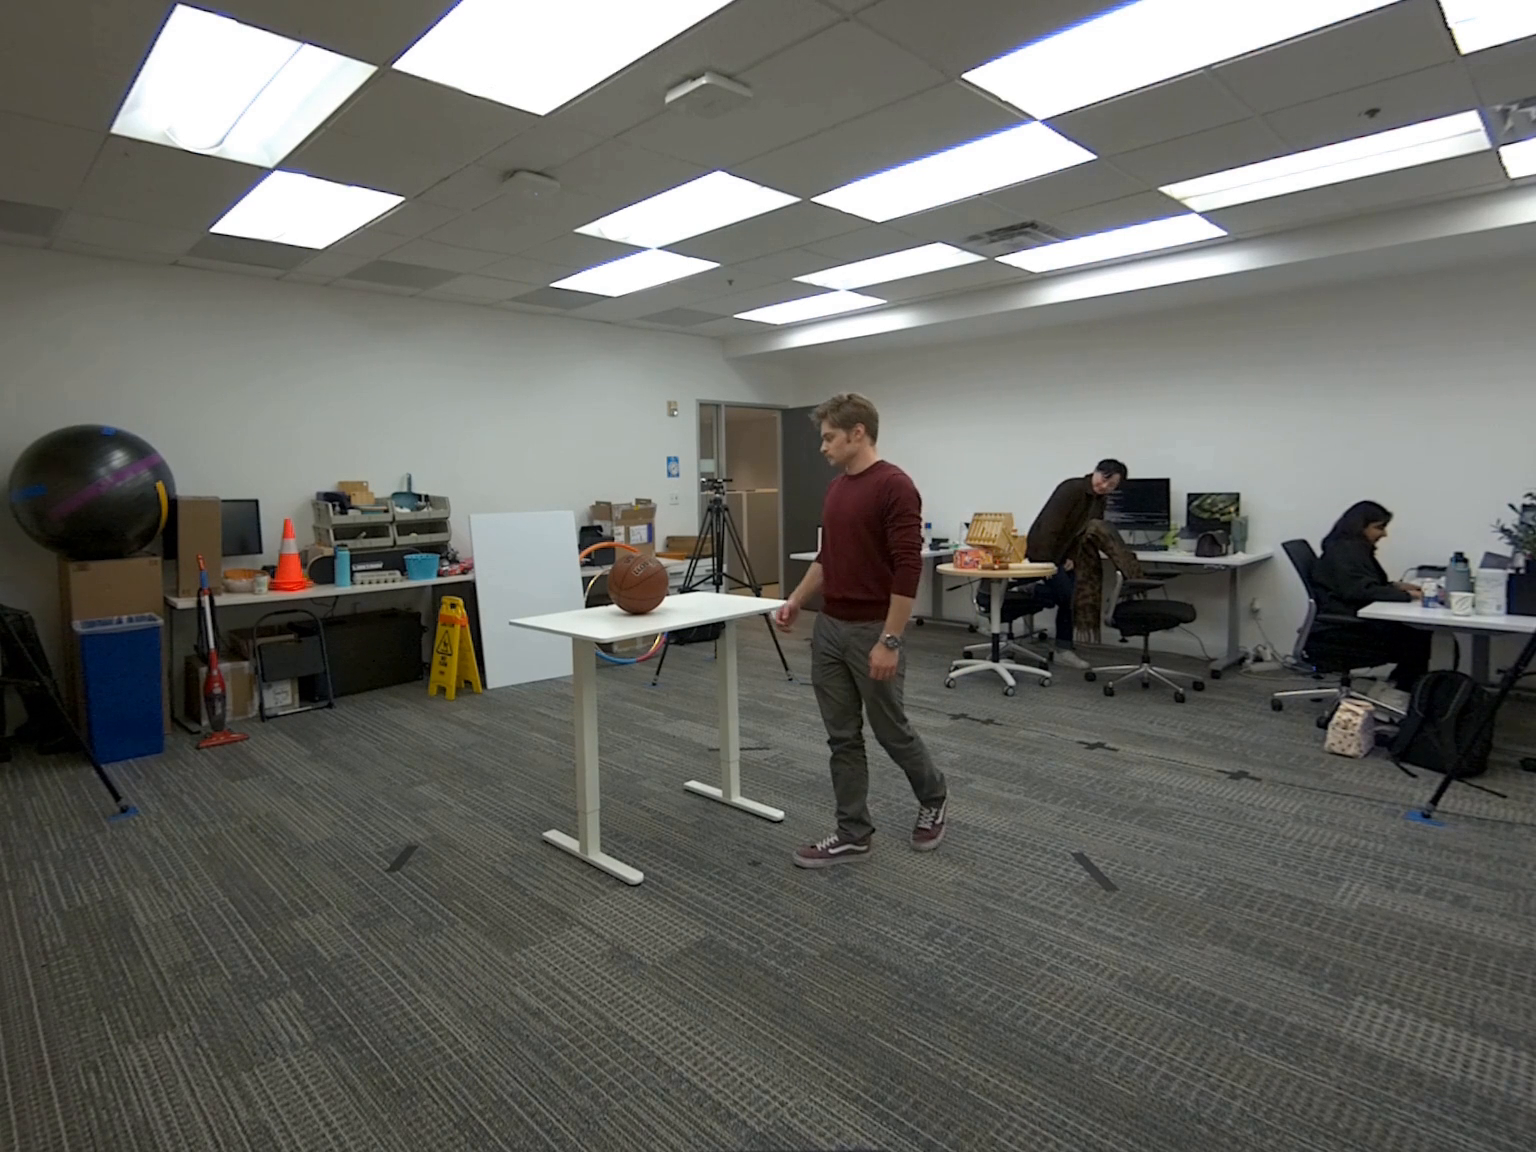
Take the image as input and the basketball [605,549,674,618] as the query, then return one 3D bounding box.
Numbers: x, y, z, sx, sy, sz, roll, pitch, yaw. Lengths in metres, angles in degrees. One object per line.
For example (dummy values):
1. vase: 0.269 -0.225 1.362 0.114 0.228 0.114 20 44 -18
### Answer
1. basketball: -0.496 0.022 3.326 0.236 0.235 0.237 -1 5 -2
